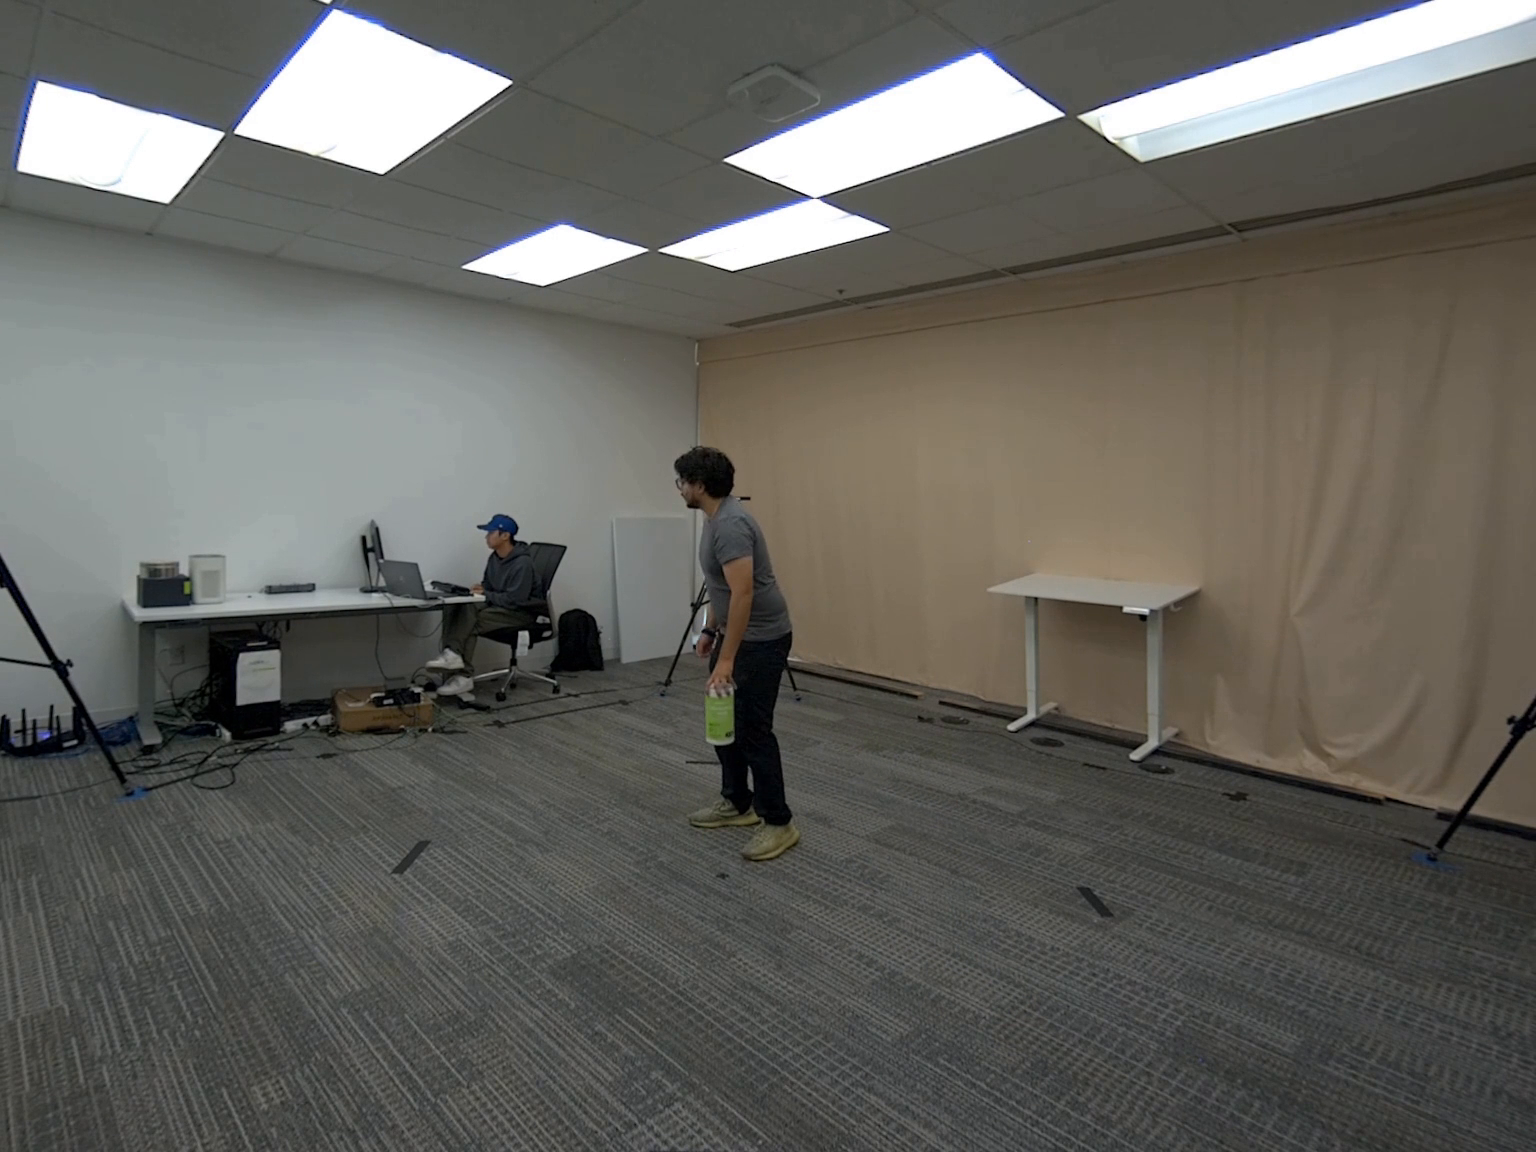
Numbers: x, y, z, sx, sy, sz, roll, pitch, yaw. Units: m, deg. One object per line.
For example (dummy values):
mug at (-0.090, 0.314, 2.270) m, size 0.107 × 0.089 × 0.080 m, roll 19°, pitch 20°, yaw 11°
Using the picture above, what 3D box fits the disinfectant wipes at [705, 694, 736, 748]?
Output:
disinfectant wipes at (-0.195, 0.530, 3.186) m, size 0.118 × 0.216 × 0.118 m, roll -1°, pitch 7°, yaw -1°
